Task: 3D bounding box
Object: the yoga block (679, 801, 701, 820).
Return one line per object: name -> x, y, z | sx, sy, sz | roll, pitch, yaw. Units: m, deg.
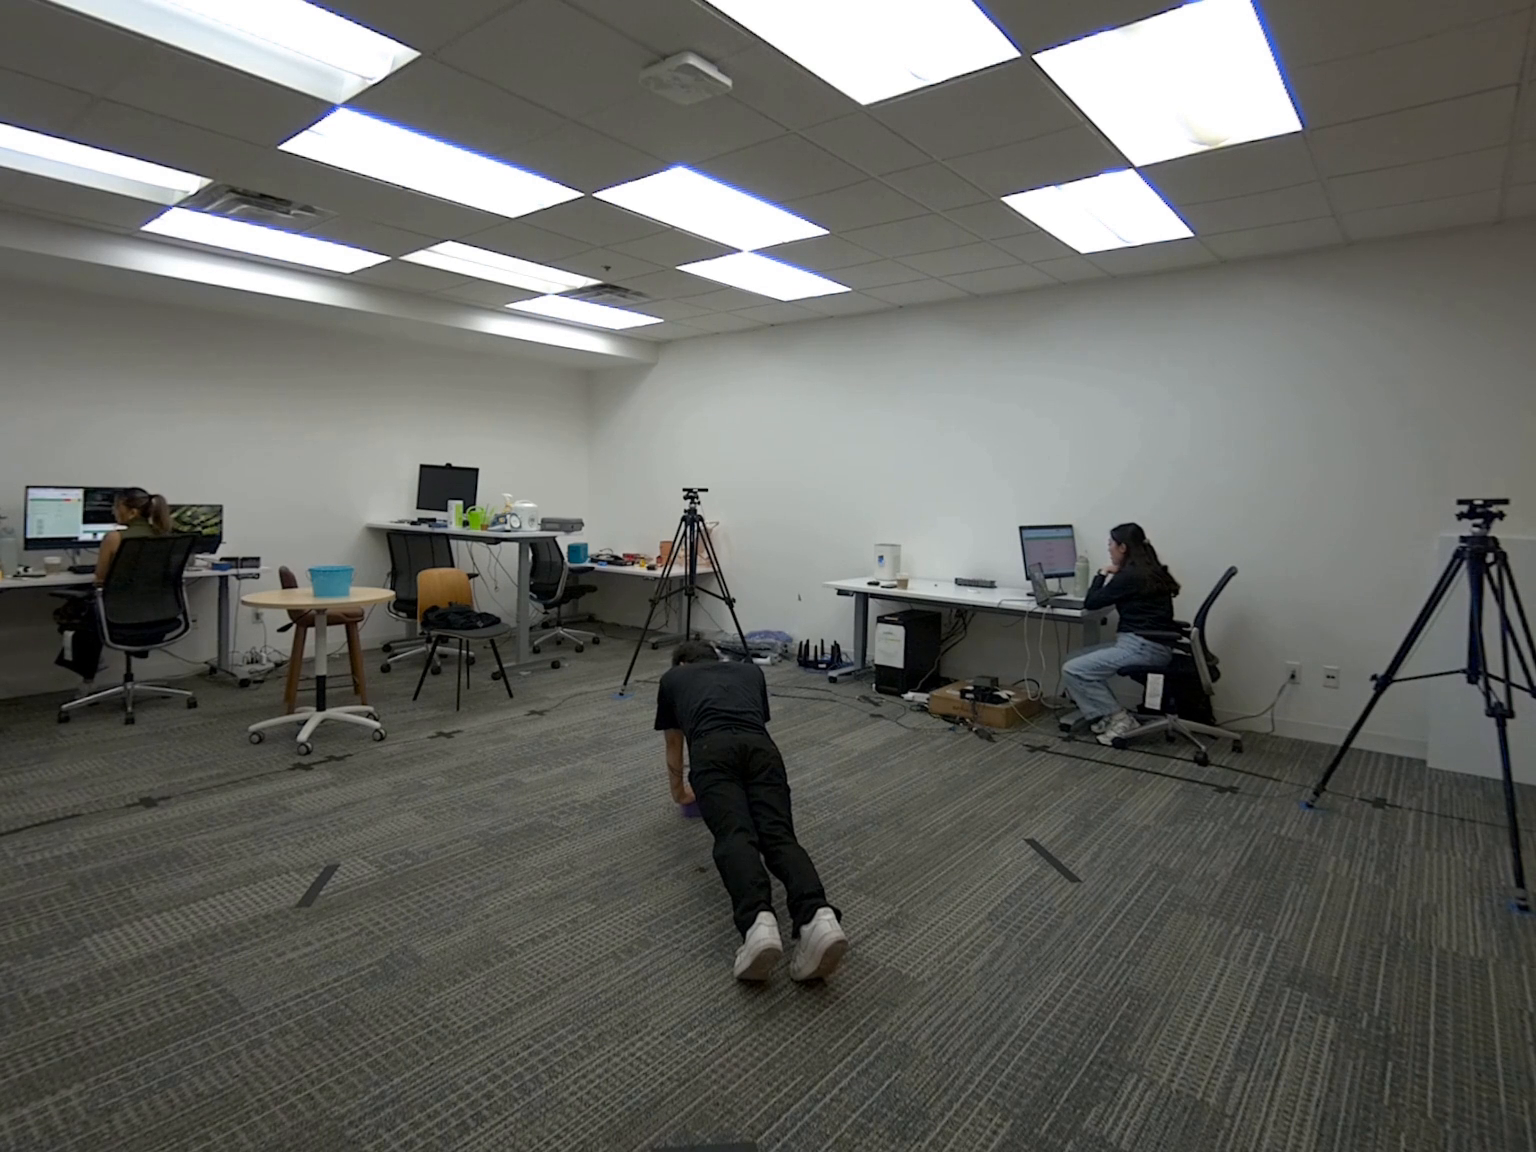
yoga block -> -0.271, 0.970, 3.687 | 0.226, 0.076, 0.151 | -1, 5, -13
